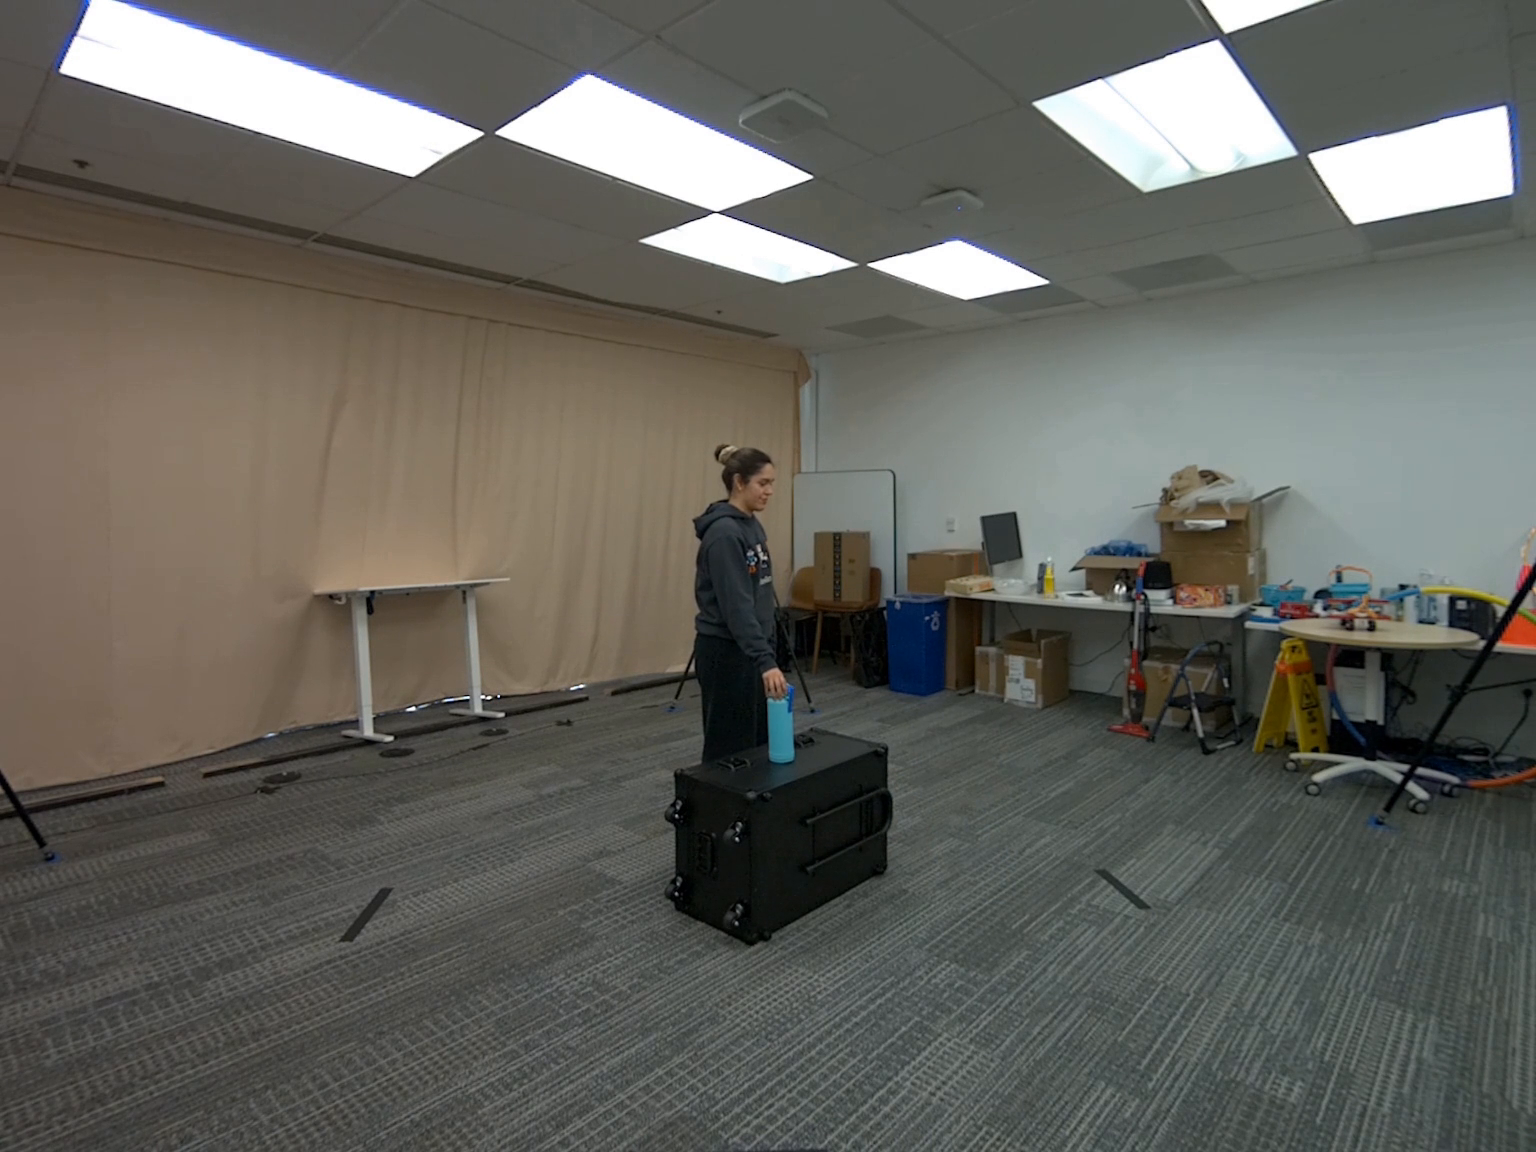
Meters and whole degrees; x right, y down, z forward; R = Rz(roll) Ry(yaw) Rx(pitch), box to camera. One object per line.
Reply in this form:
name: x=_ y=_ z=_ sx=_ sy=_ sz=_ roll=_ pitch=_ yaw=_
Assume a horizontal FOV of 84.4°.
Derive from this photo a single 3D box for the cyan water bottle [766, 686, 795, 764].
cyan water bottle: x=0.062 y=0.514 z=3.001 sx=0.092 sy=0.283 sz=0.092 roll=-1 pitch=3 yaw=-2
